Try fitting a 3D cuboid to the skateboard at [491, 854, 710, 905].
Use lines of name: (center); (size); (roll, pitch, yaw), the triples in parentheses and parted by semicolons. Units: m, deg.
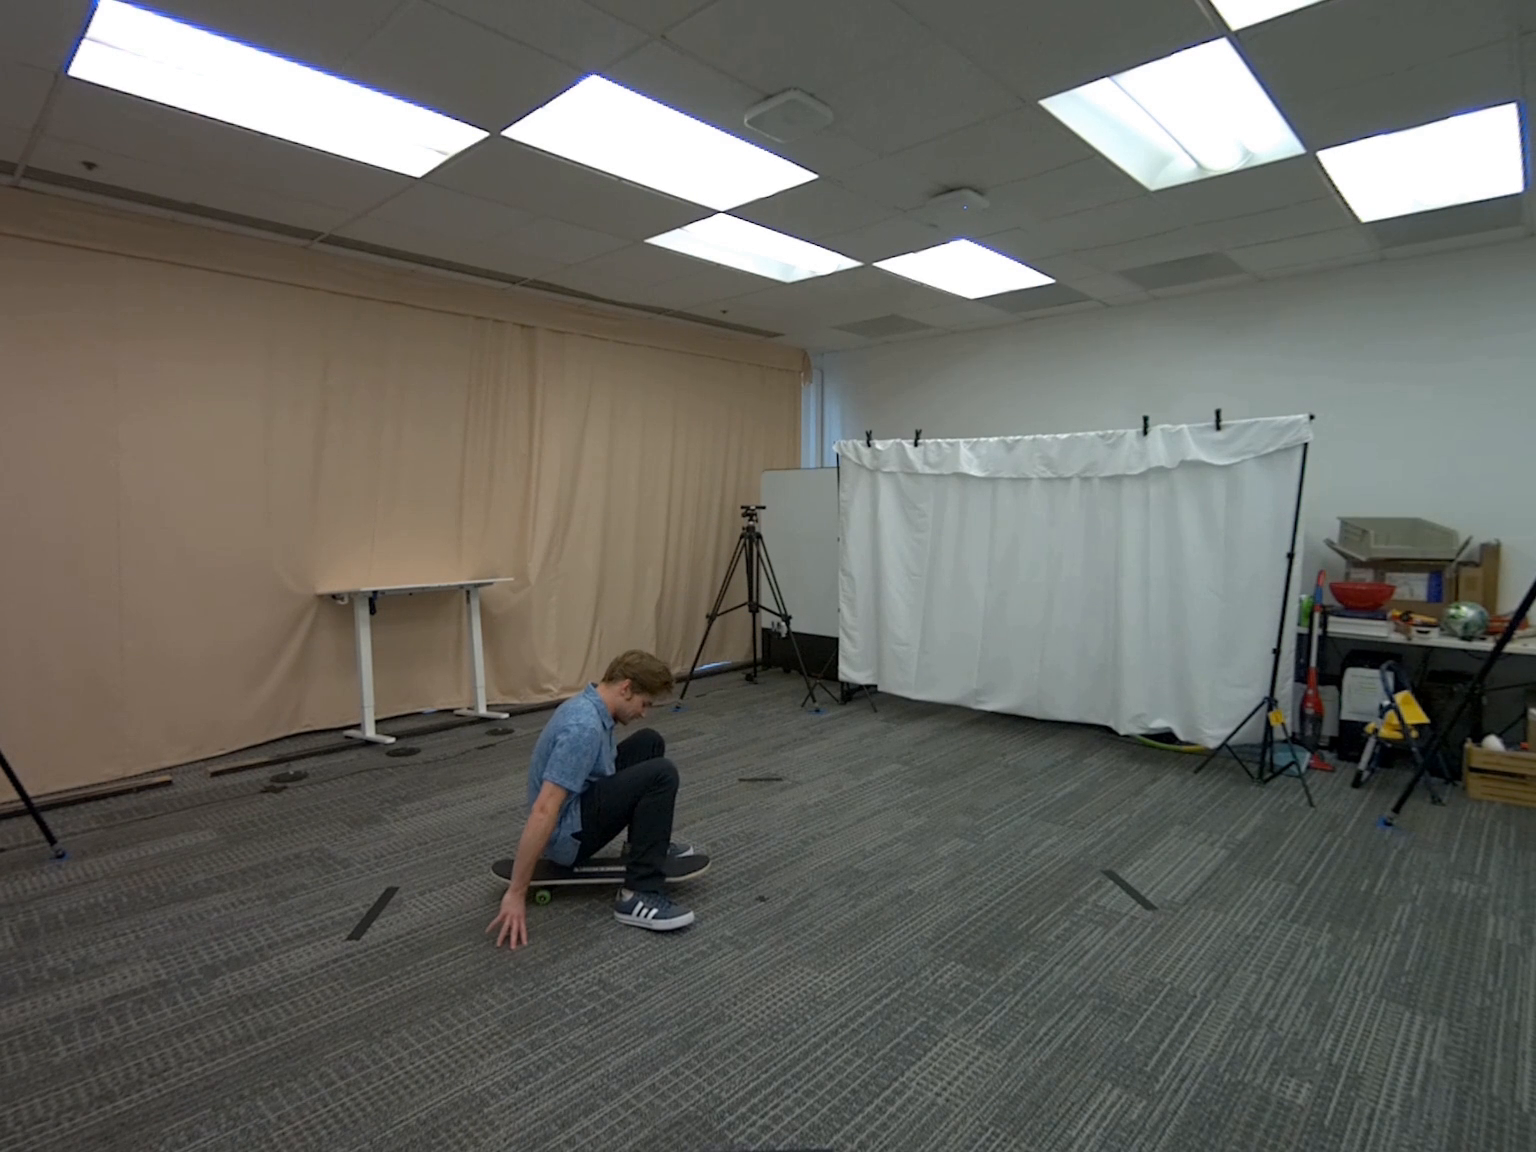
skateboard: (-0.598, 1.089, 3.043); (0.782, 0.110, 0.194); (-2, 3, -4)
